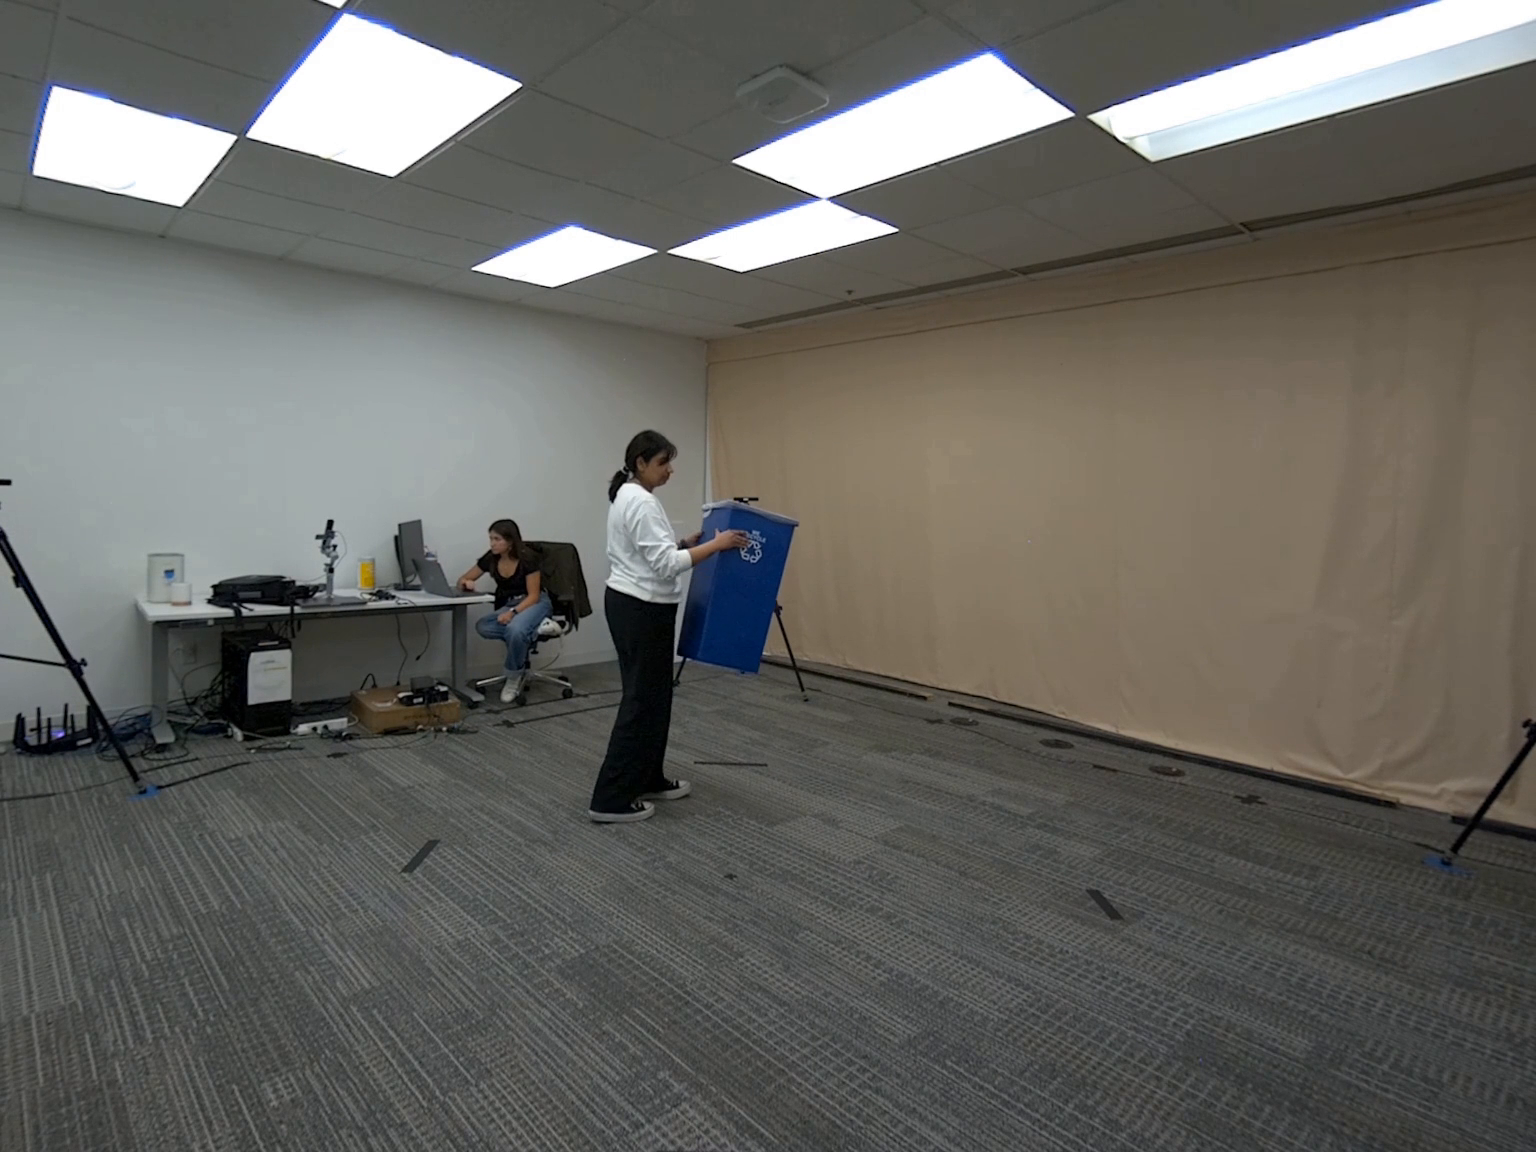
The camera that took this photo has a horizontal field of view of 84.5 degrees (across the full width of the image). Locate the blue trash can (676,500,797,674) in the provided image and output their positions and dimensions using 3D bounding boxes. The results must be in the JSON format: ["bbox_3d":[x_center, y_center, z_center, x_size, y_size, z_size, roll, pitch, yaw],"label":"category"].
[{"bbox_3d":[-0.168,0.052,3.876,0.367,0.716,0.384,15,-7,-23],"label":"blue trash can"}]
